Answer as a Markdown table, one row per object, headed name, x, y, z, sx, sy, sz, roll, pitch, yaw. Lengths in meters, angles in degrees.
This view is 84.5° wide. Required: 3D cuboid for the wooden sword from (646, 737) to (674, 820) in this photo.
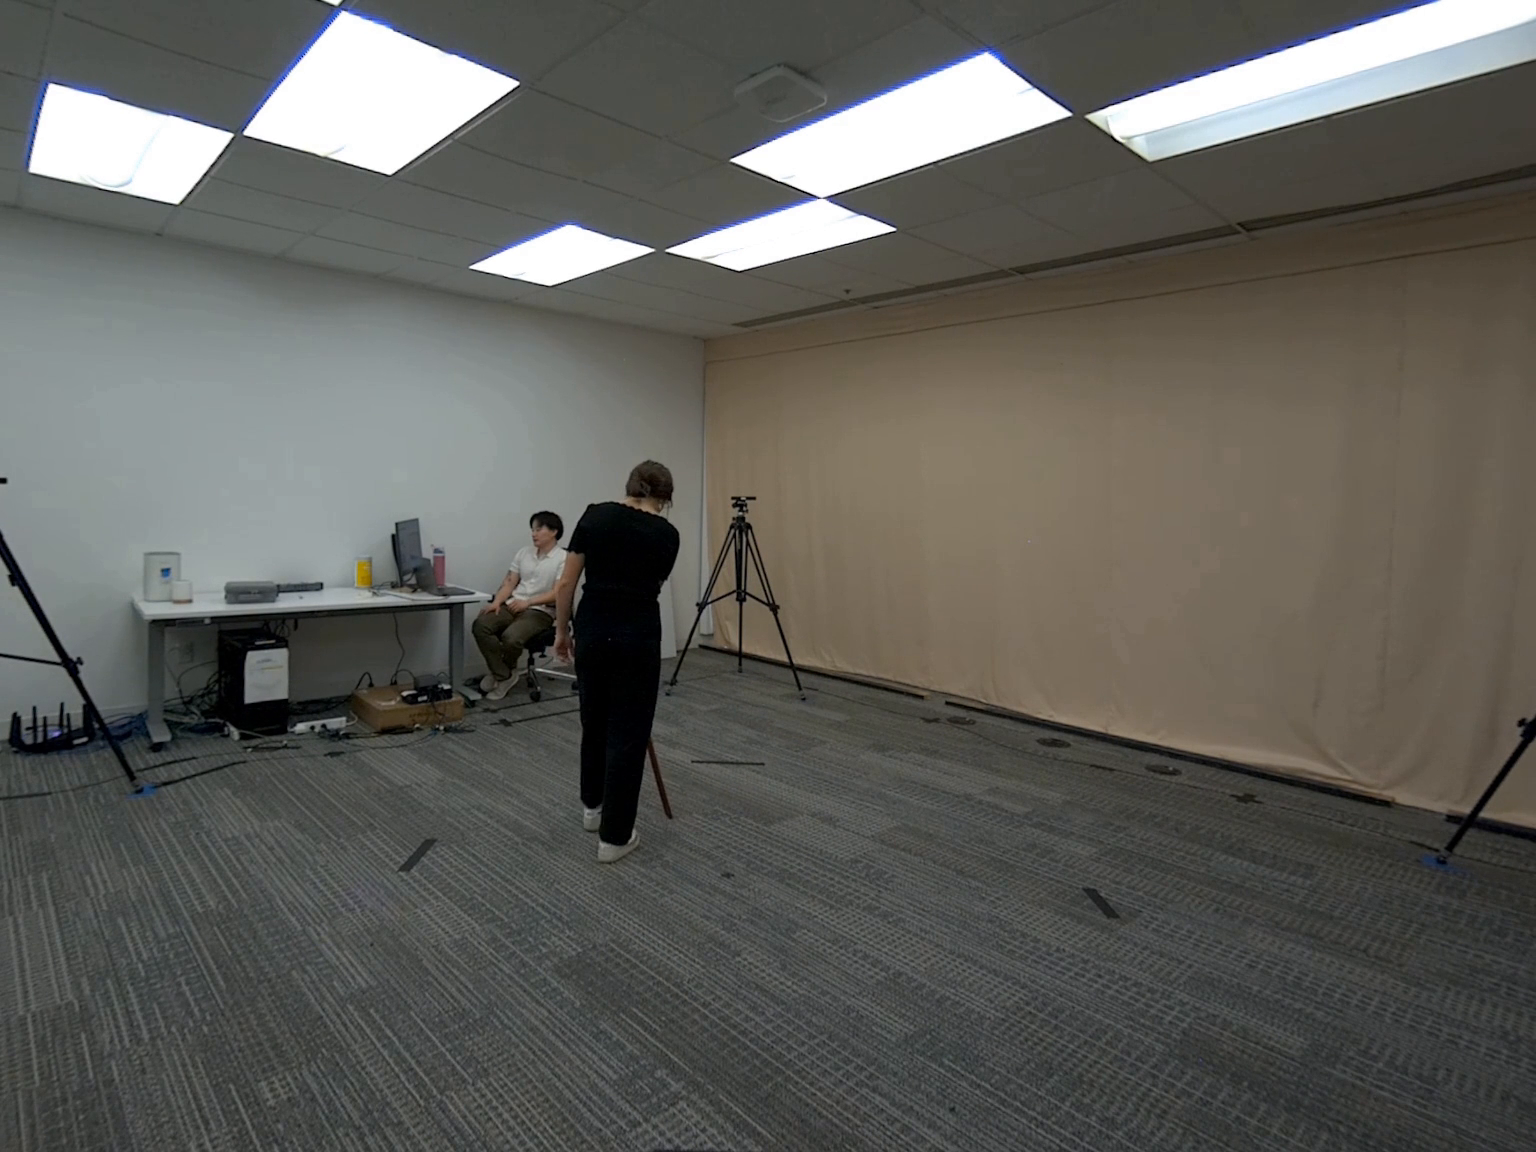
| name | x | y | z | sx | sy | sz | roll | pitch | yaw |
| --- | --- | --- | --- | --- | --- | --- | --- | --- | --- |
| wooden sword | -0.564 | 0.571 | 3.687 | 0.051 | 1.029 | 0.024 | -14 | -4 | -12 |
